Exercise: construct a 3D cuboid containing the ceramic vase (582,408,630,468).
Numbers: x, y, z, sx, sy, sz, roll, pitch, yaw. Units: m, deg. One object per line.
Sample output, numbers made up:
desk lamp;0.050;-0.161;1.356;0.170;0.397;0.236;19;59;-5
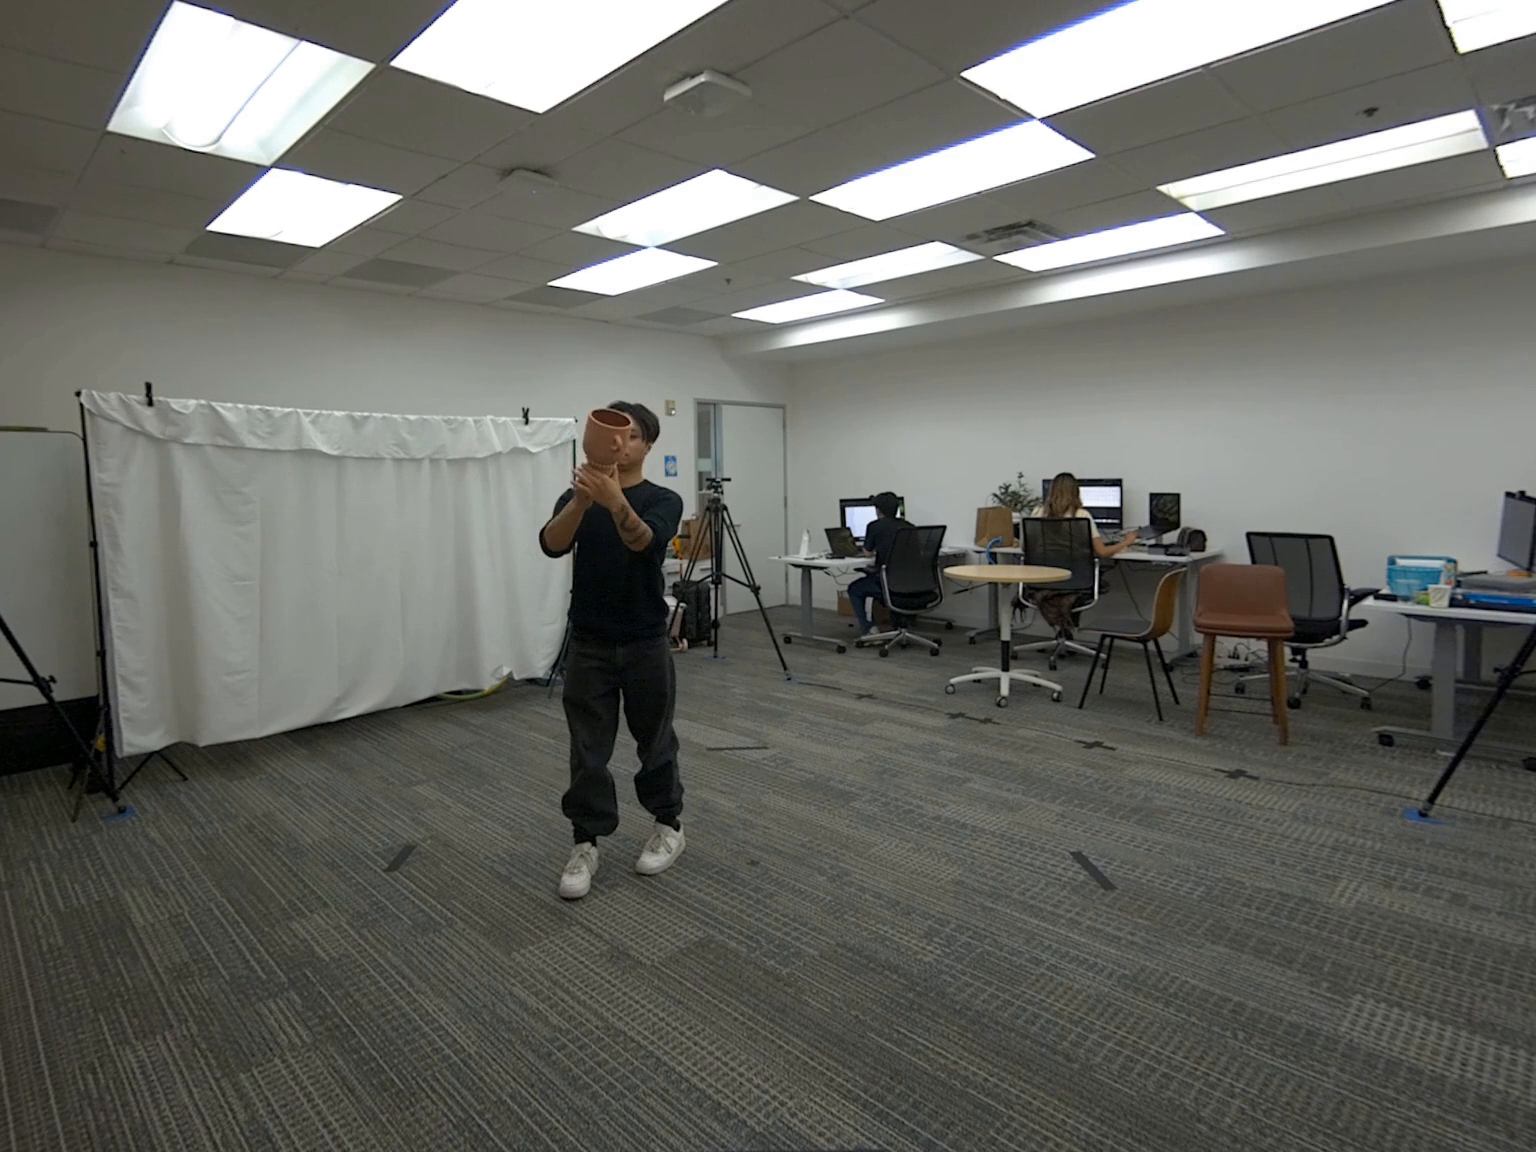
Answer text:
ceramic vase;-0.496;-0.372;2.565;0.135;0.216;0.160;19;29;2
